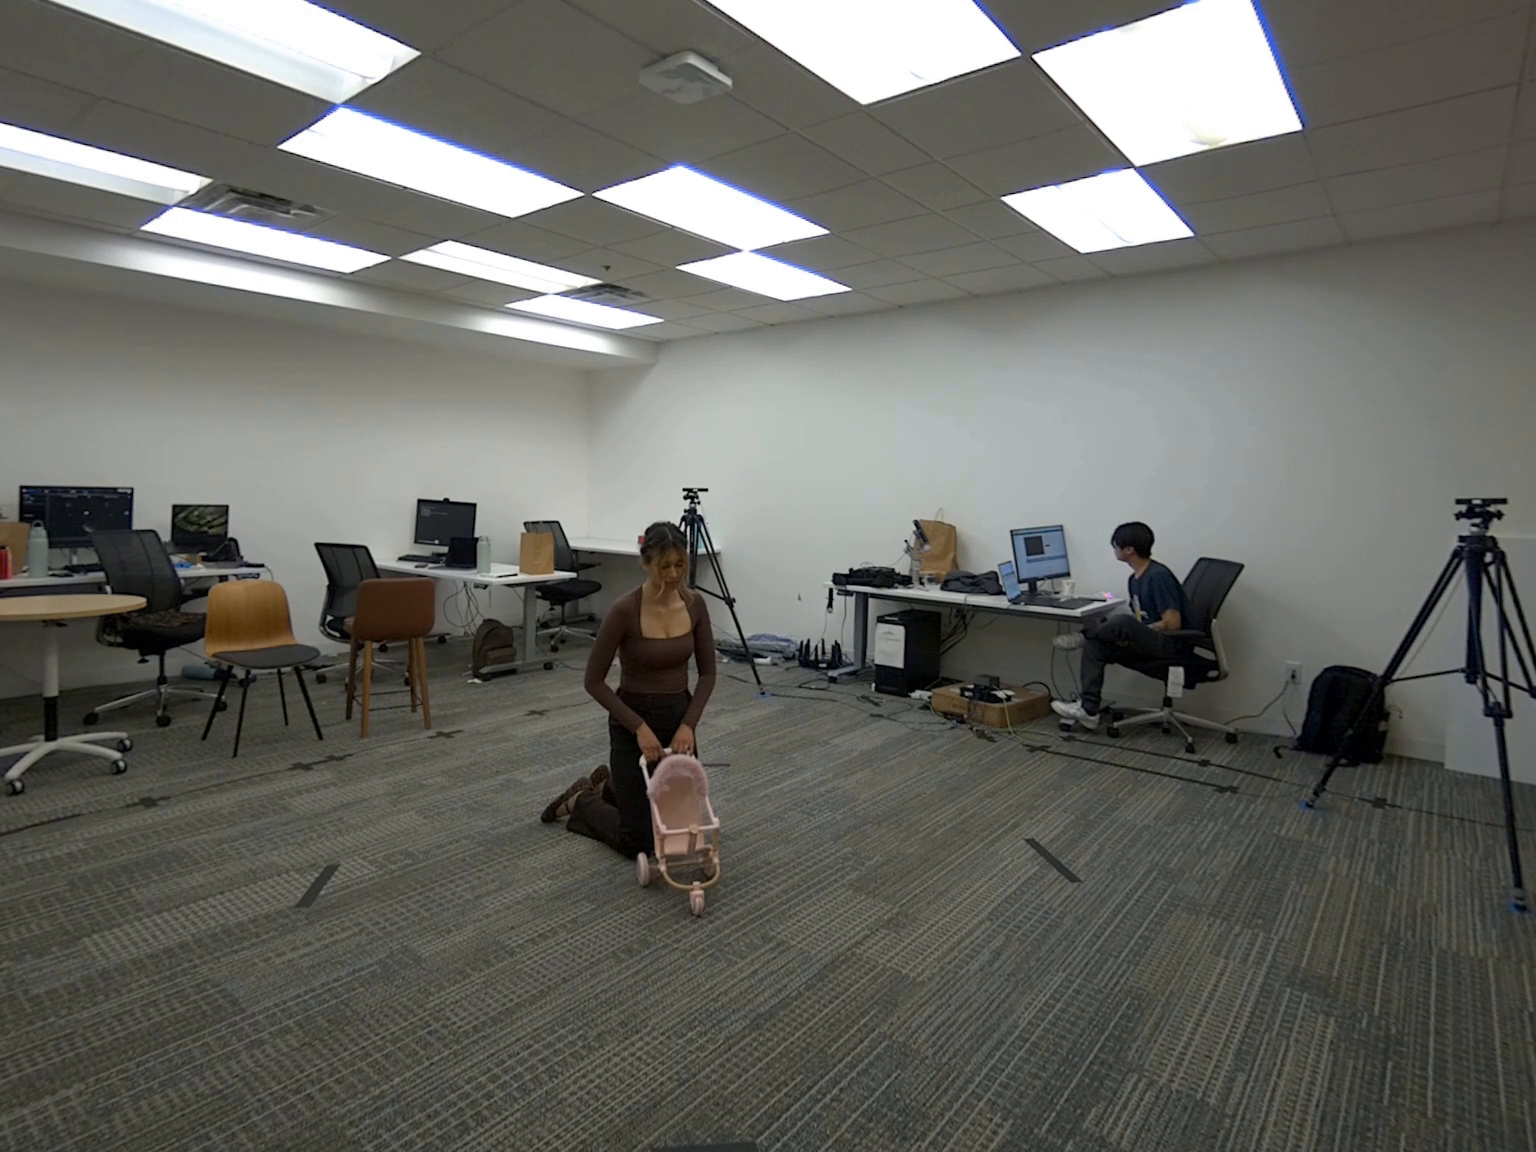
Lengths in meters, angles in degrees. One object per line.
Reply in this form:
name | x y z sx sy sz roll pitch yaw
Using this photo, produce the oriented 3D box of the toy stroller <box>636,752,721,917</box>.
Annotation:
toy stroller | -0.304 0.860 2.940 0.277 0.542 0.342 -1 -13 -16
